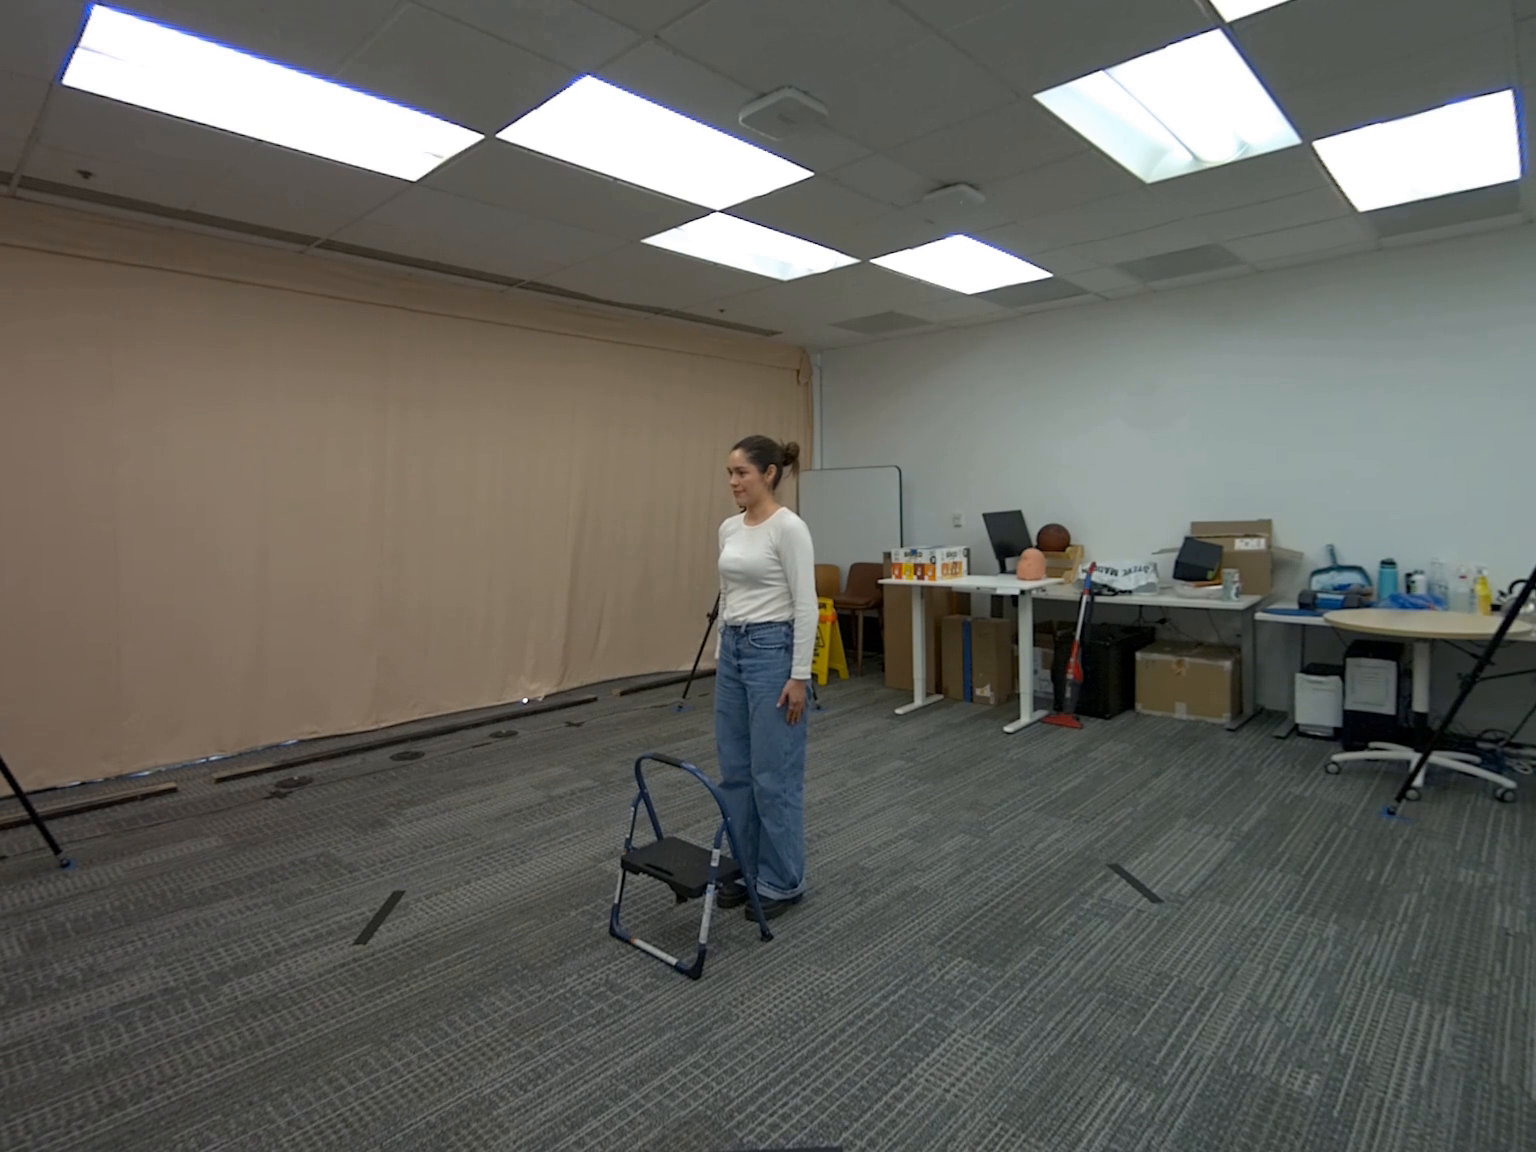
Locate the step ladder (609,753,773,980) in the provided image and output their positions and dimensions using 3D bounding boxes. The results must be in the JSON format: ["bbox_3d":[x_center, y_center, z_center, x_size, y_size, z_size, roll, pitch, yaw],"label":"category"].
[{"bbox_3d":[-0.257,0.863,2.714,0.445,0.605,0.338,2,4,42],"label":"step ladder"}]
